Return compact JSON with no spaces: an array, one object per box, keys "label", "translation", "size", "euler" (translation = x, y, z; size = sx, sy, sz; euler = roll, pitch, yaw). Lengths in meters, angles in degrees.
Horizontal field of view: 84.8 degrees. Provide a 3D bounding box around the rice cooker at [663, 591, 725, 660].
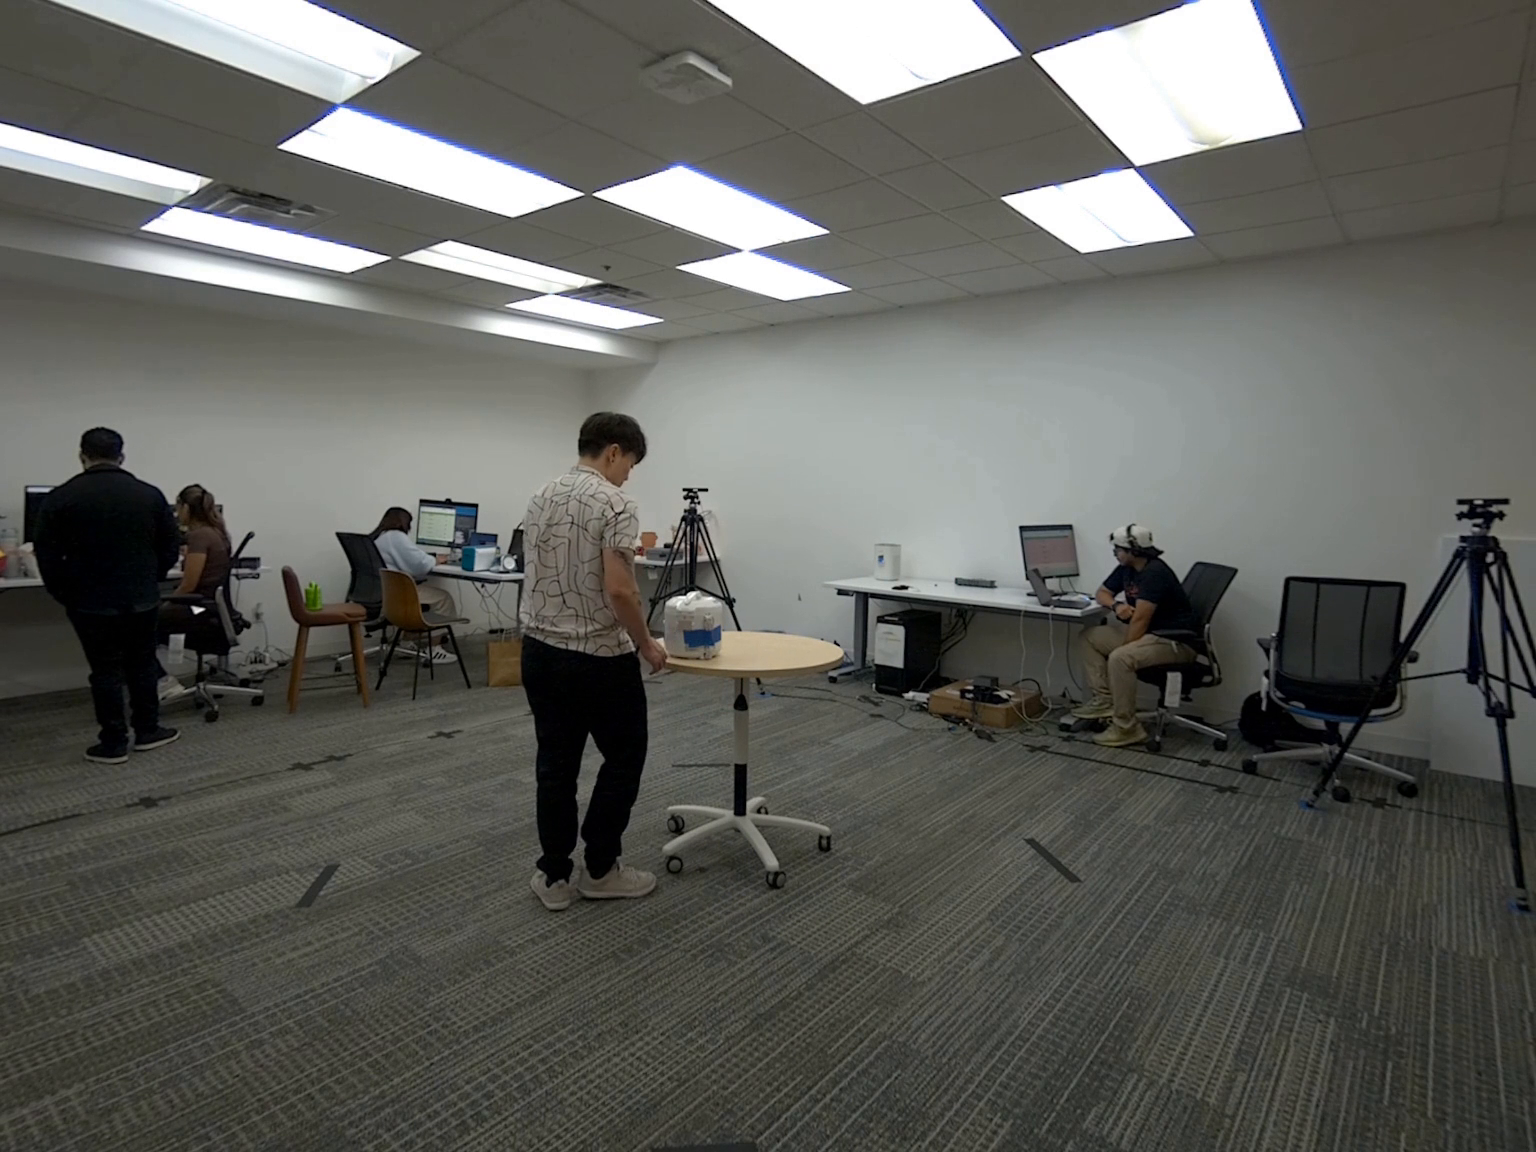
[{"label":"rice cooker","translation":[-0.281,0.171,3.103],"size":[0.221,0.232,0.218],"euler":[3,5,13]}]
